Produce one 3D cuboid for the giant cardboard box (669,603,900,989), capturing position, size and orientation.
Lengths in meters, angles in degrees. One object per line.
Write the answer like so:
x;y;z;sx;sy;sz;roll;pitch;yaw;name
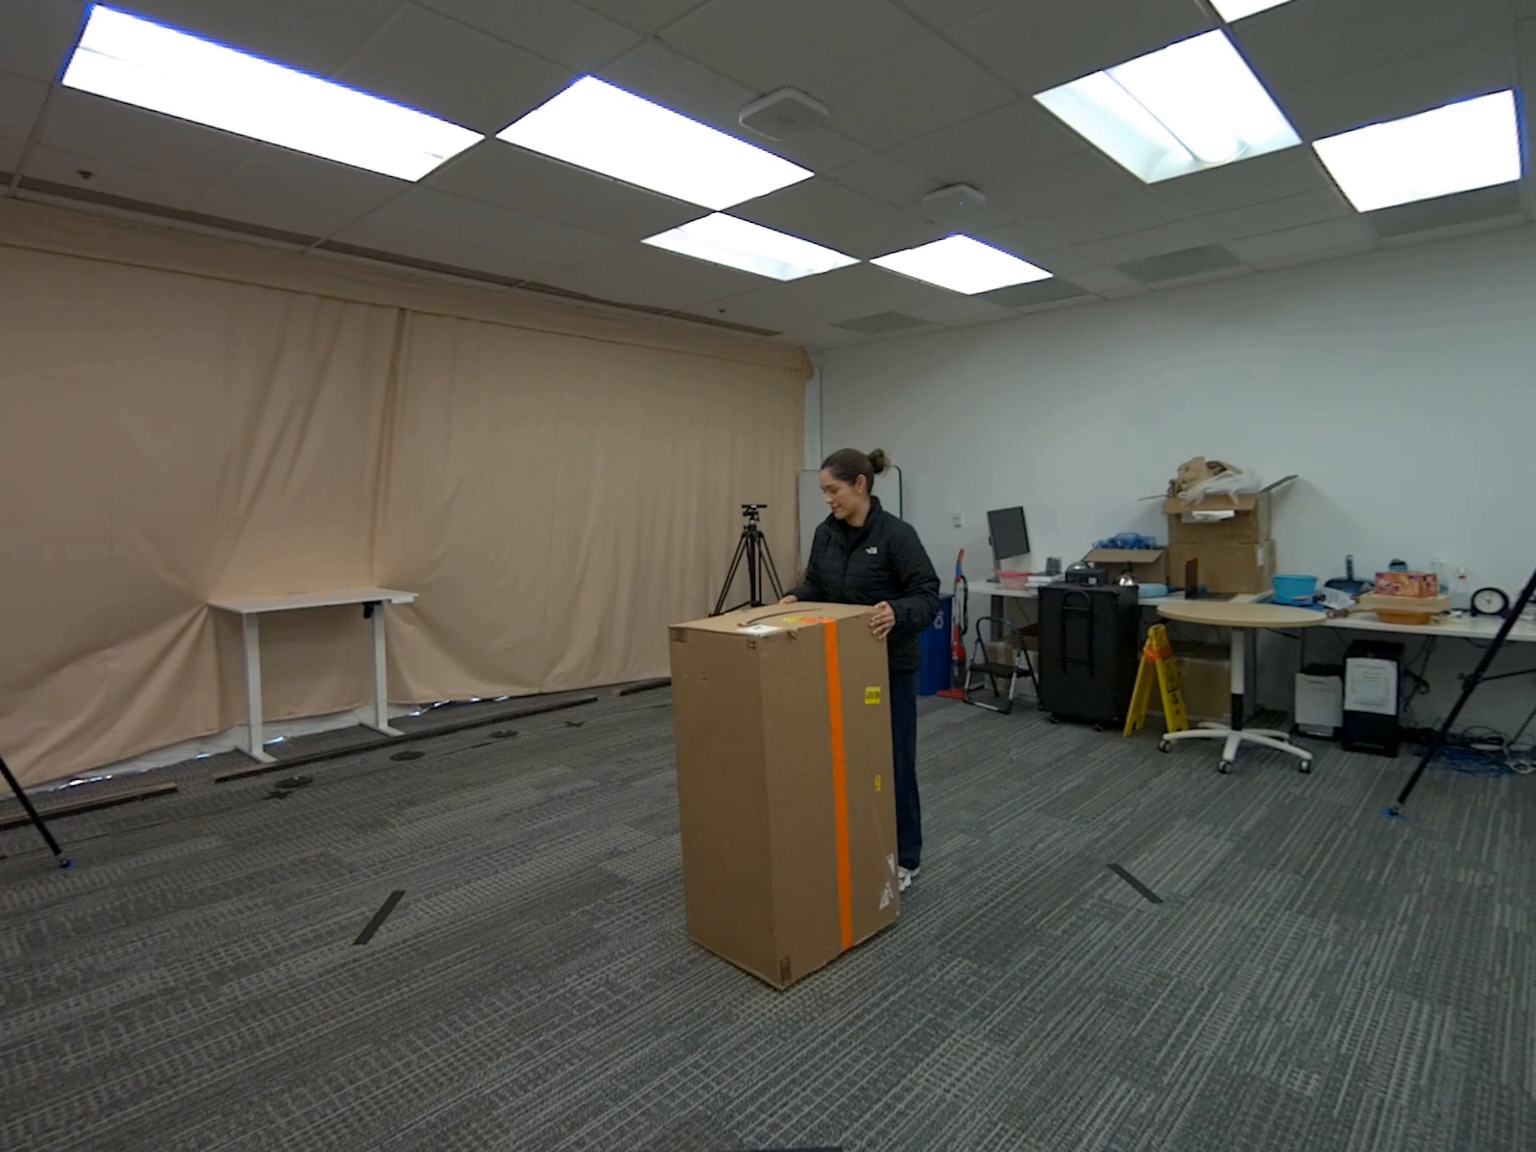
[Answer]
0.076;0.642;2.702;0.560;1.023;0.440;-7;5;-44;giant cardboard box
